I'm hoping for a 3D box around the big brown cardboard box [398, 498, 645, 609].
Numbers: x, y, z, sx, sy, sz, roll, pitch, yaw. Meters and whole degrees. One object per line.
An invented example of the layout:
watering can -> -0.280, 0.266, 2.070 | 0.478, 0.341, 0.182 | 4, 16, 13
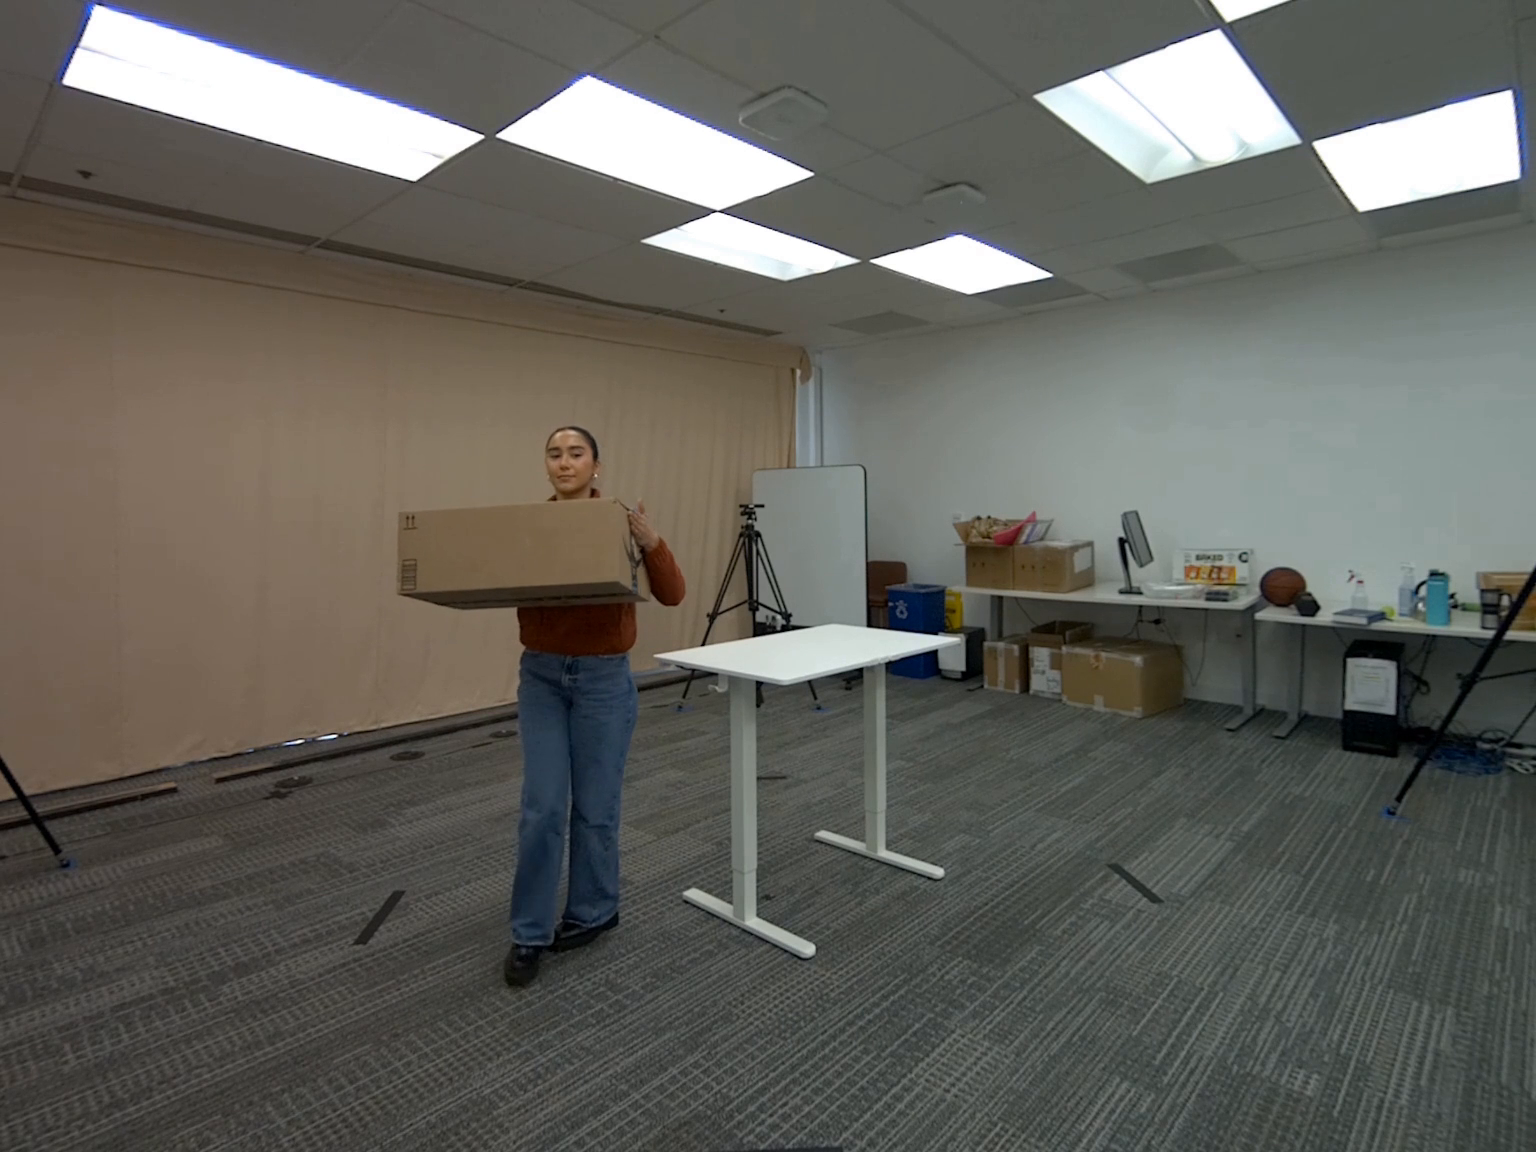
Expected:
big brown cardboard box -> -0.649, -0.050, 2.289 | 0.592, 0.235, 0.413 | -2, -9, 4
